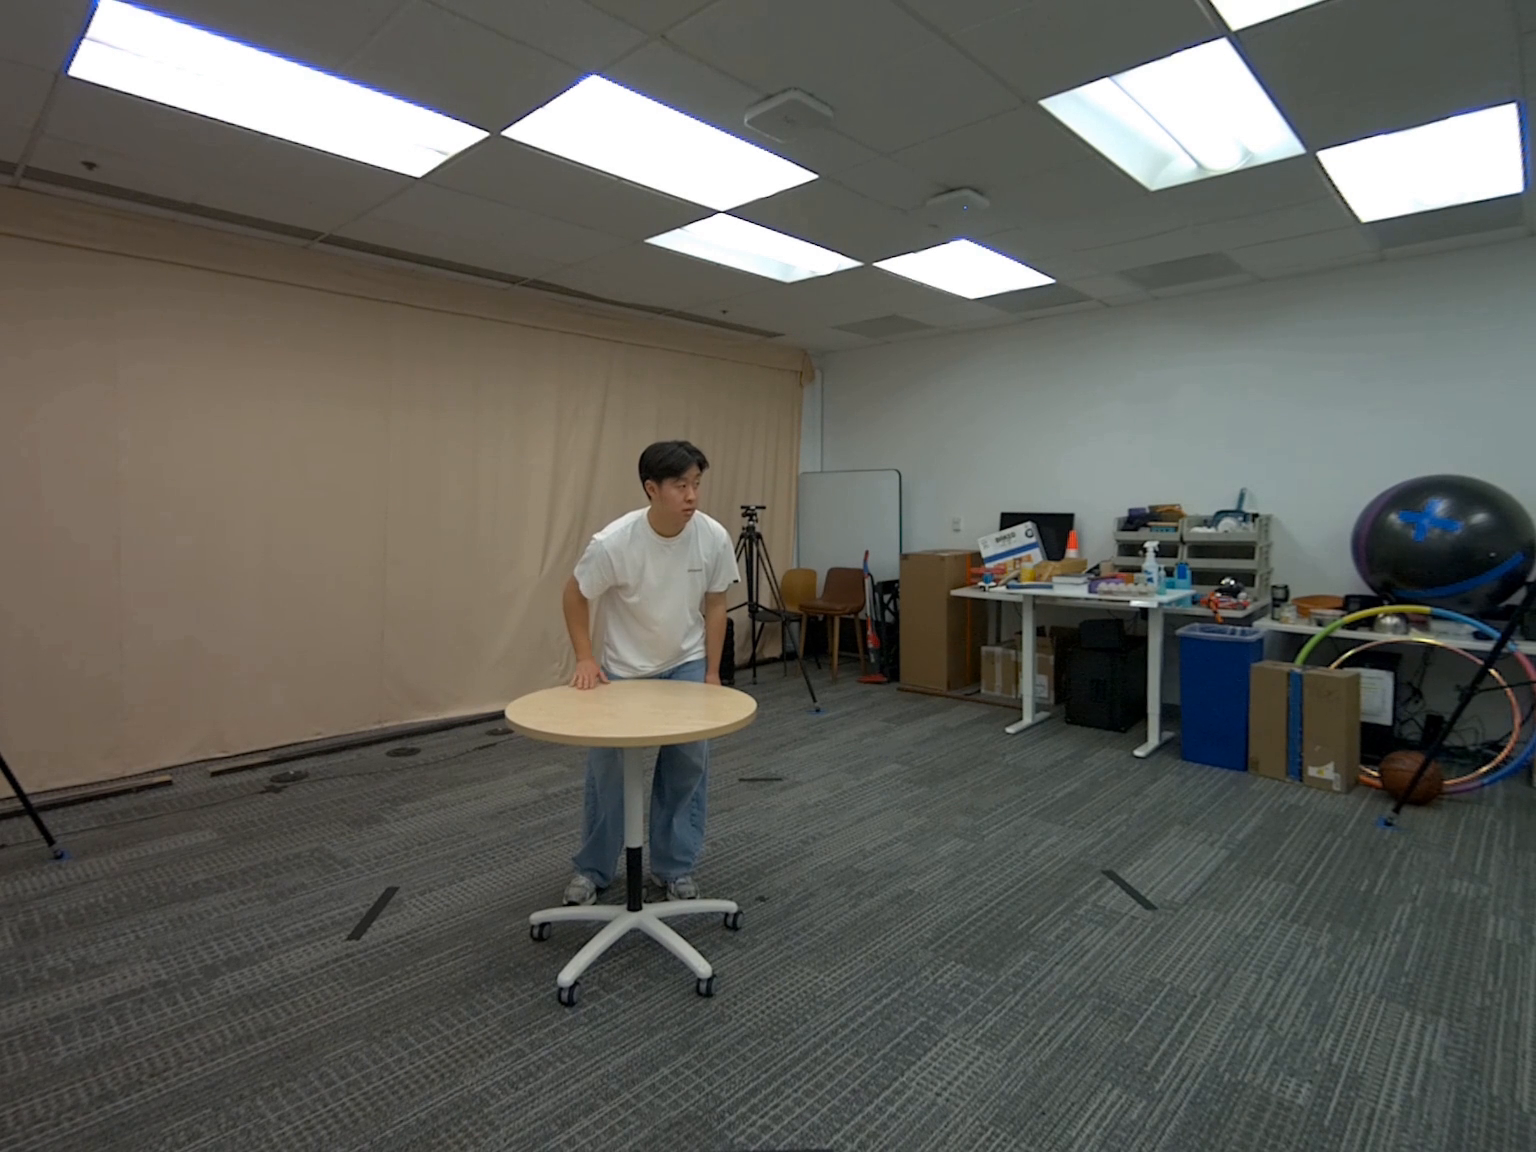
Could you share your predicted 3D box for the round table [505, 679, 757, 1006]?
[{"bbox_3d":[-0.406,0.786,2.609,0.763,0.792,0.766,0,4,-2],"label":"round table"}]
